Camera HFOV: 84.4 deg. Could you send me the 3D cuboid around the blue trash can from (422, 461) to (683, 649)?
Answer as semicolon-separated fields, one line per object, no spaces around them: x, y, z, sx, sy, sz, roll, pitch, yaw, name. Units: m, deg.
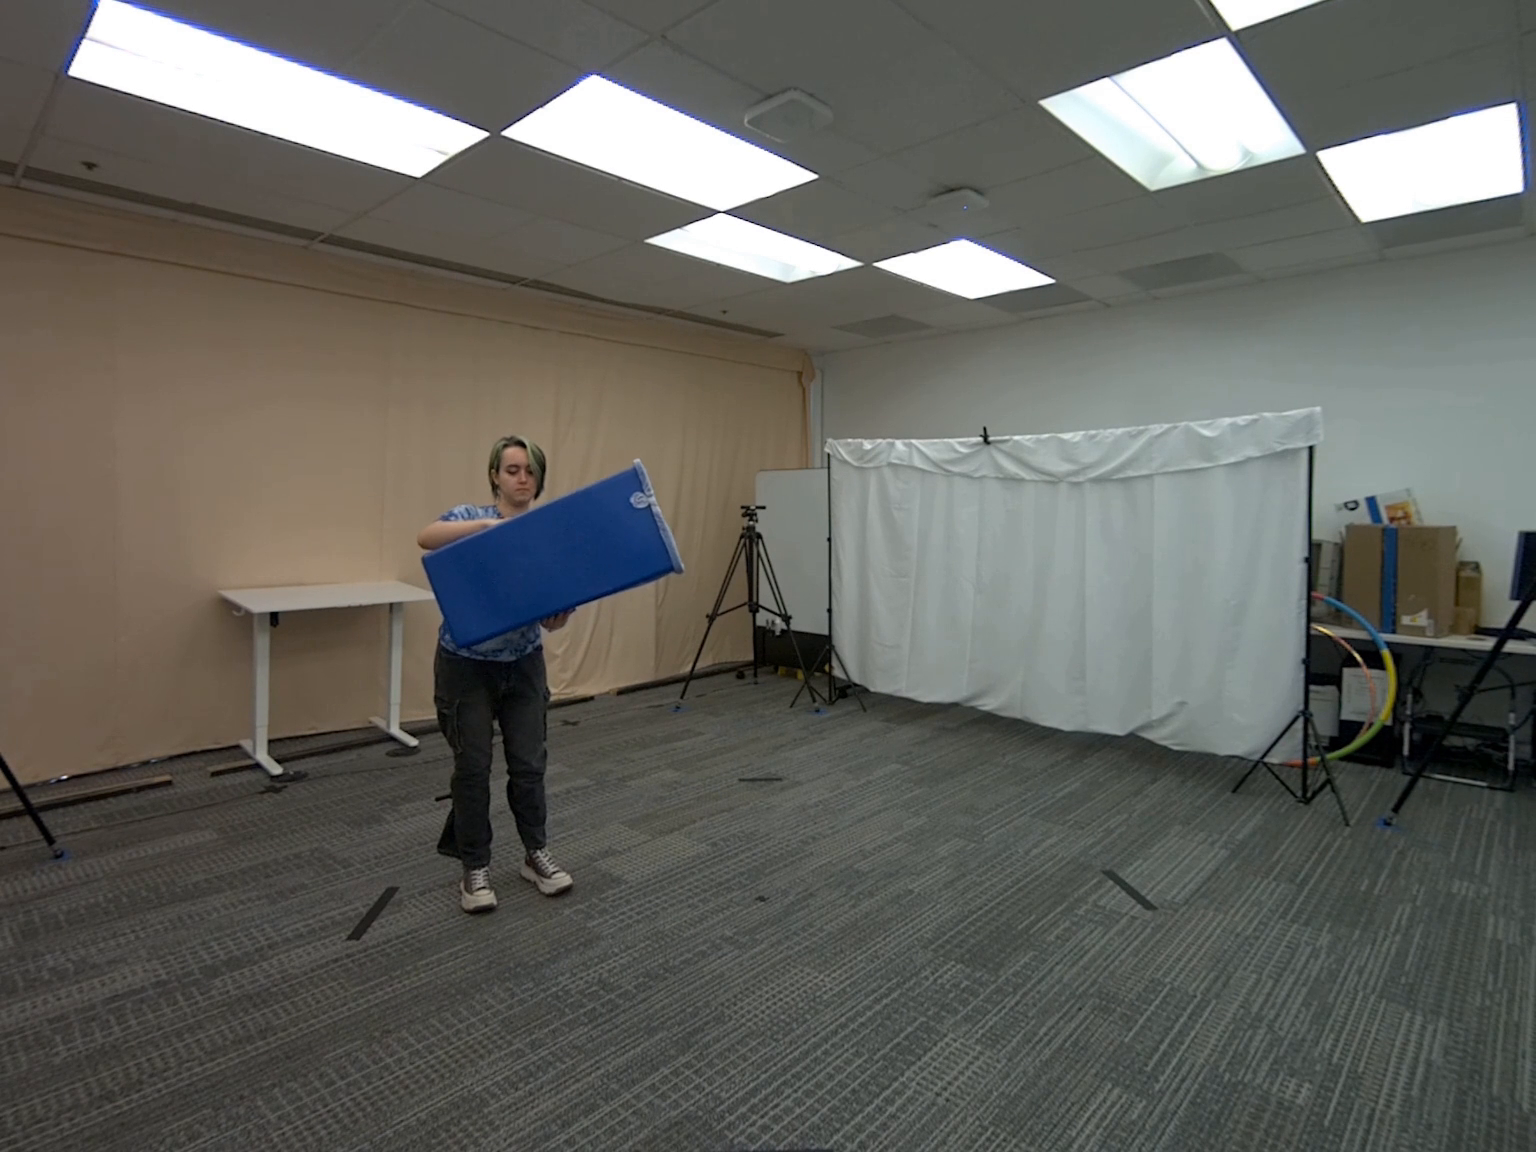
-0.660;-0.059;2.674;0.712;0.378;0.375;-21;0;-4;blue trash can
